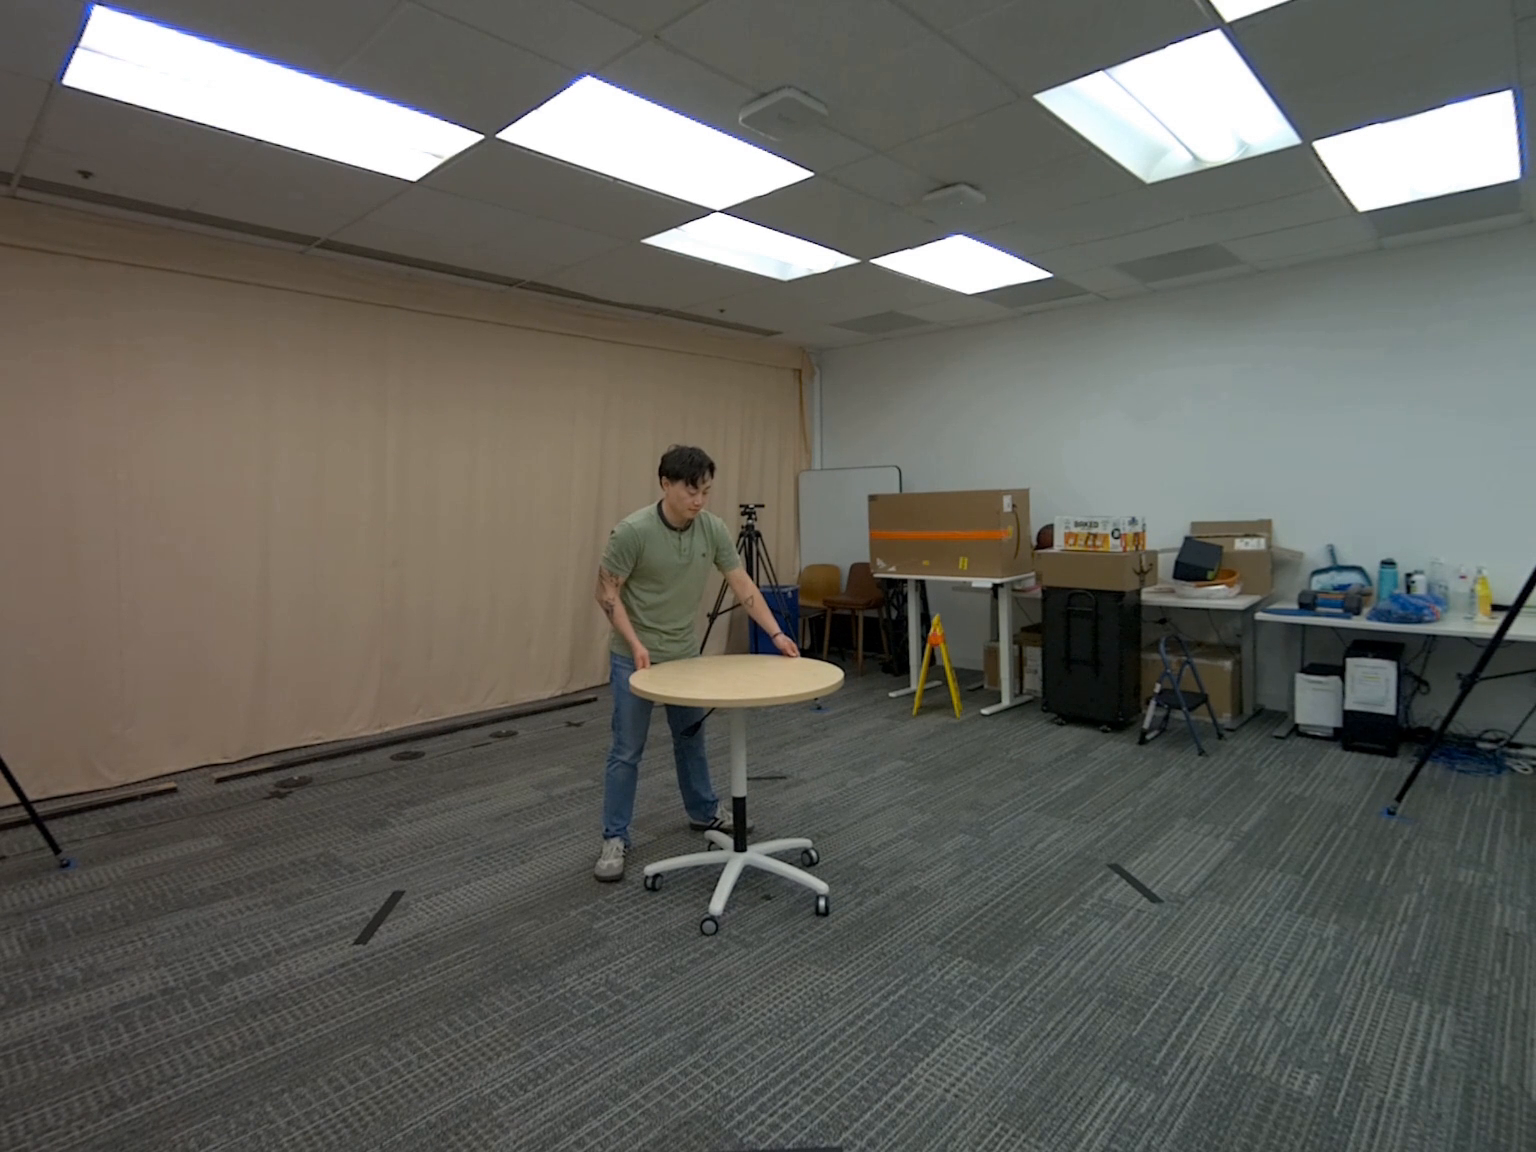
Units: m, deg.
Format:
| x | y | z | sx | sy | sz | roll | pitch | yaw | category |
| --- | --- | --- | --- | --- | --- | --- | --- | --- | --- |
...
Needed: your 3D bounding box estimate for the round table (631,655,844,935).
| x | y | z | sx | sy | sz | roll | pitch | yaw | category |
| --- | --- | --- | --- | --- | --- | --- | --- | --- | --- |
| -0.102 | 0.747 | 3.033 | 0.763 | 0.792 | 0.766 | -1 | 4 | -2 | round table |
